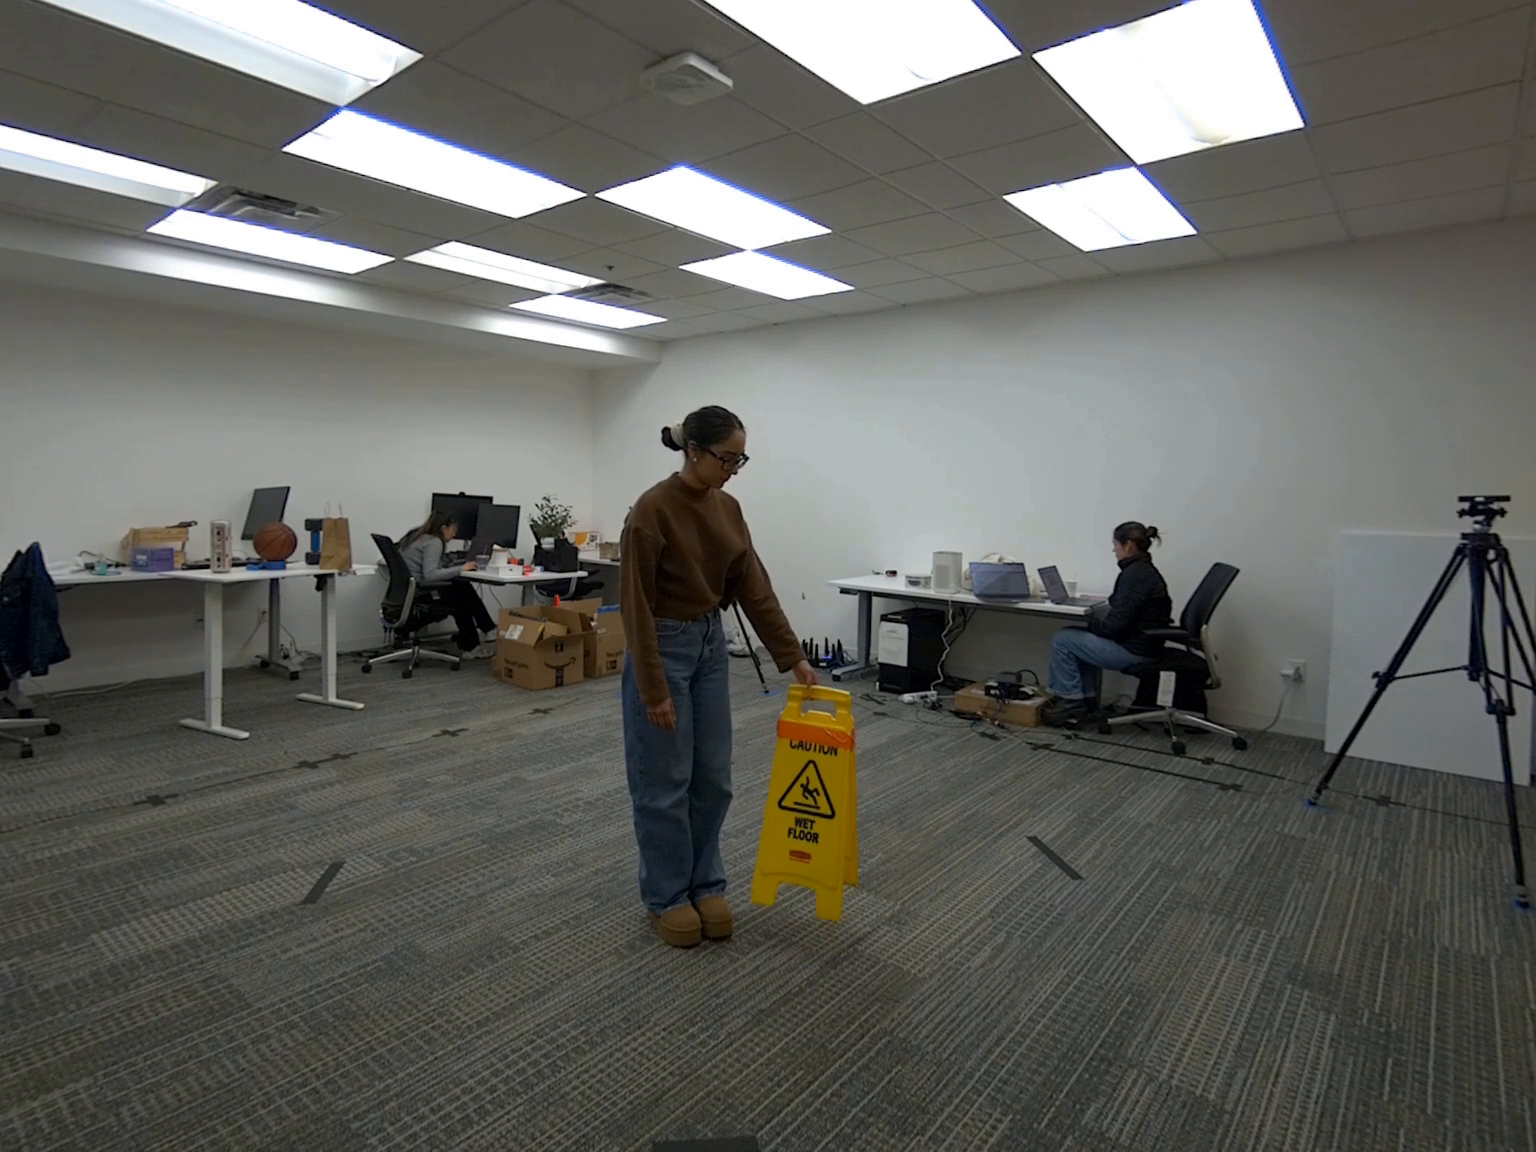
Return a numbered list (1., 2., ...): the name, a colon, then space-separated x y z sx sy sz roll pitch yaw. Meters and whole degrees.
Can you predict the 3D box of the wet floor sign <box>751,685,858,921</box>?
1. wet floor sign: 0.131 0.671 2.634 0.288 0.645 0.284 4 2 18
